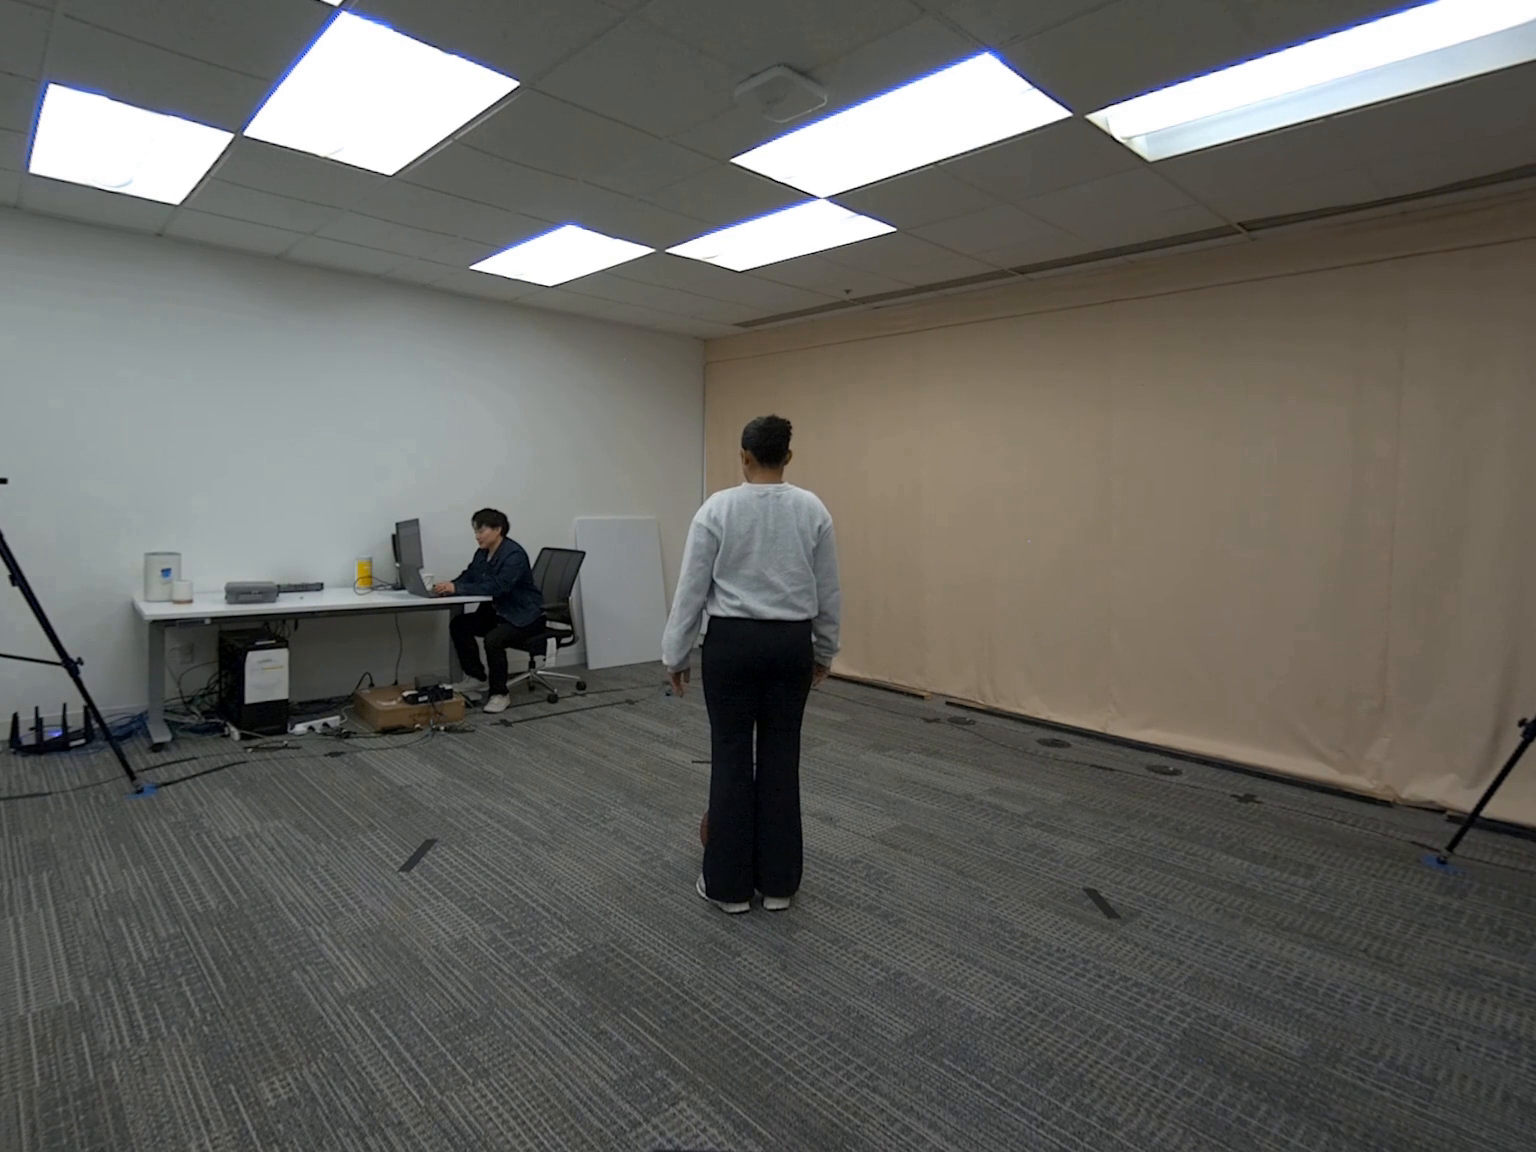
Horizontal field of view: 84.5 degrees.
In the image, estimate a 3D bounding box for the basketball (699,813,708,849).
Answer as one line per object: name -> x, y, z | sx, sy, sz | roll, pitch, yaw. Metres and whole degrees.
basketball -> -0.144, 0.980, 3.208 | 0.236, 0.235, 0.237 | 1, 4, -1
